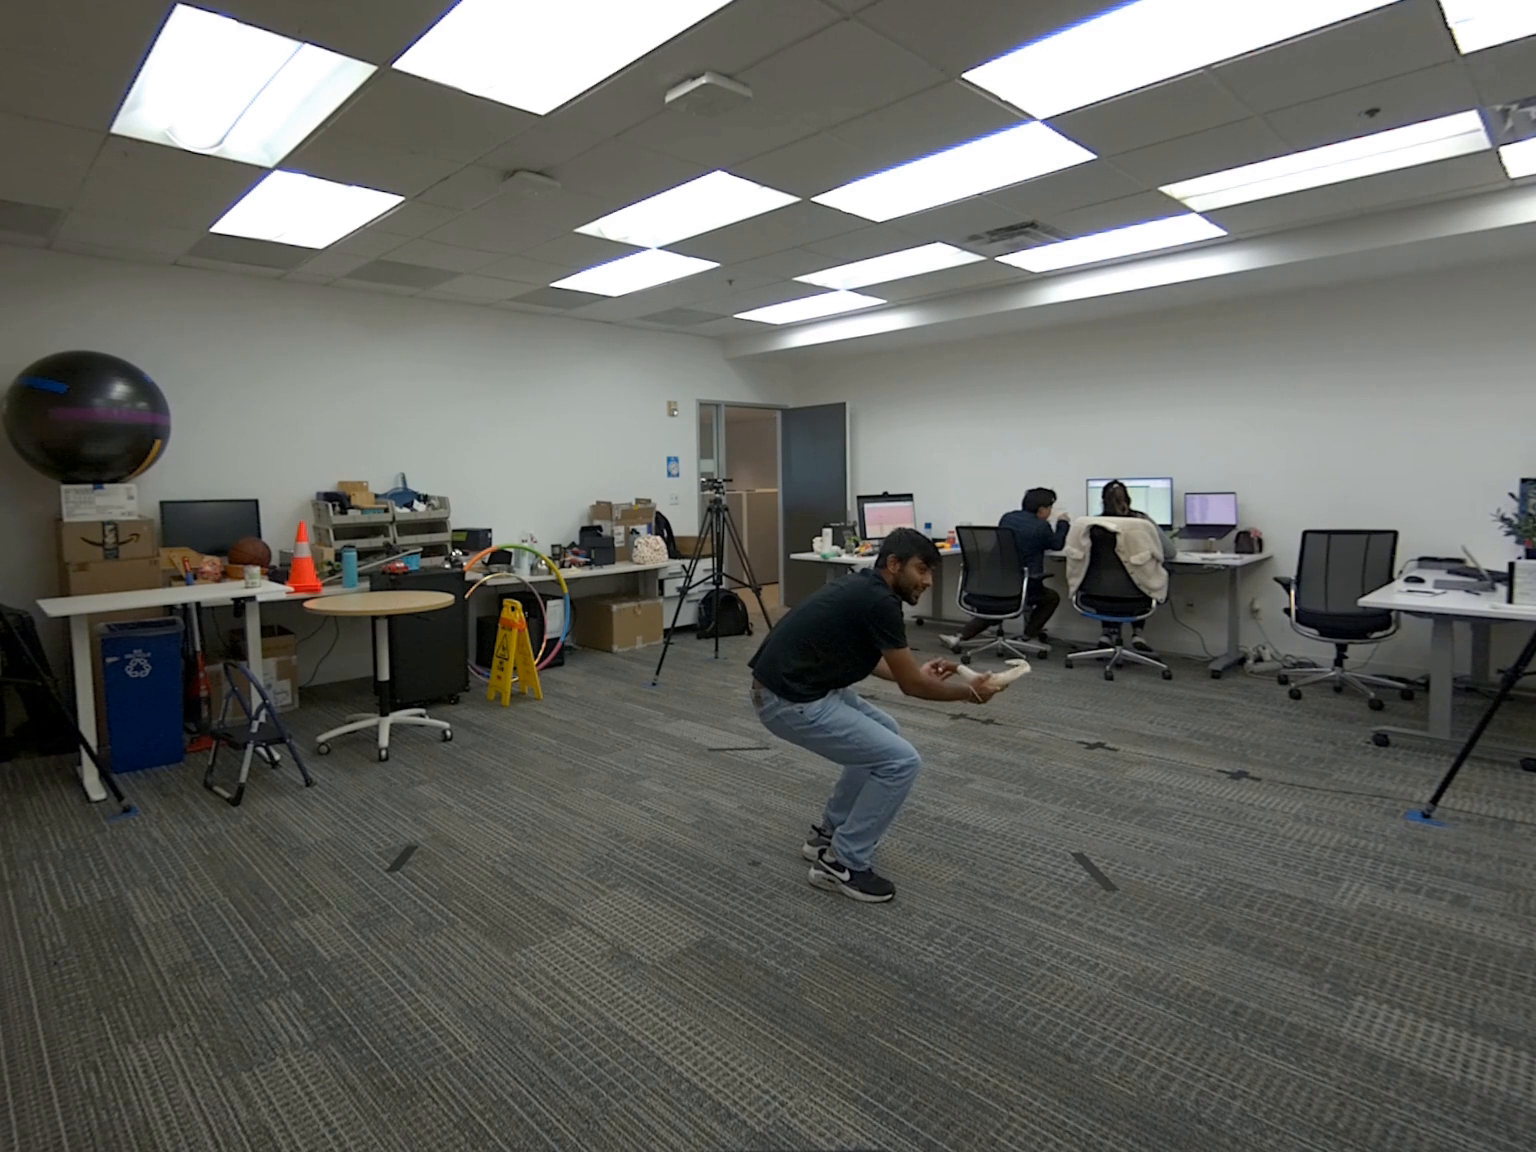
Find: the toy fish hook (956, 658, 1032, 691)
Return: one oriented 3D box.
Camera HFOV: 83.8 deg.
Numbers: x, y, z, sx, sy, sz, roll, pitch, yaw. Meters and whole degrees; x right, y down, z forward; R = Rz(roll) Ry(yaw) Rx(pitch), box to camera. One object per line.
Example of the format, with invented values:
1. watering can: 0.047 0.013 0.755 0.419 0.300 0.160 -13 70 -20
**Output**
1. toy fish hook: 0.787 0.353 3.244 0.222 0.048 0.514 -17 7 -15
